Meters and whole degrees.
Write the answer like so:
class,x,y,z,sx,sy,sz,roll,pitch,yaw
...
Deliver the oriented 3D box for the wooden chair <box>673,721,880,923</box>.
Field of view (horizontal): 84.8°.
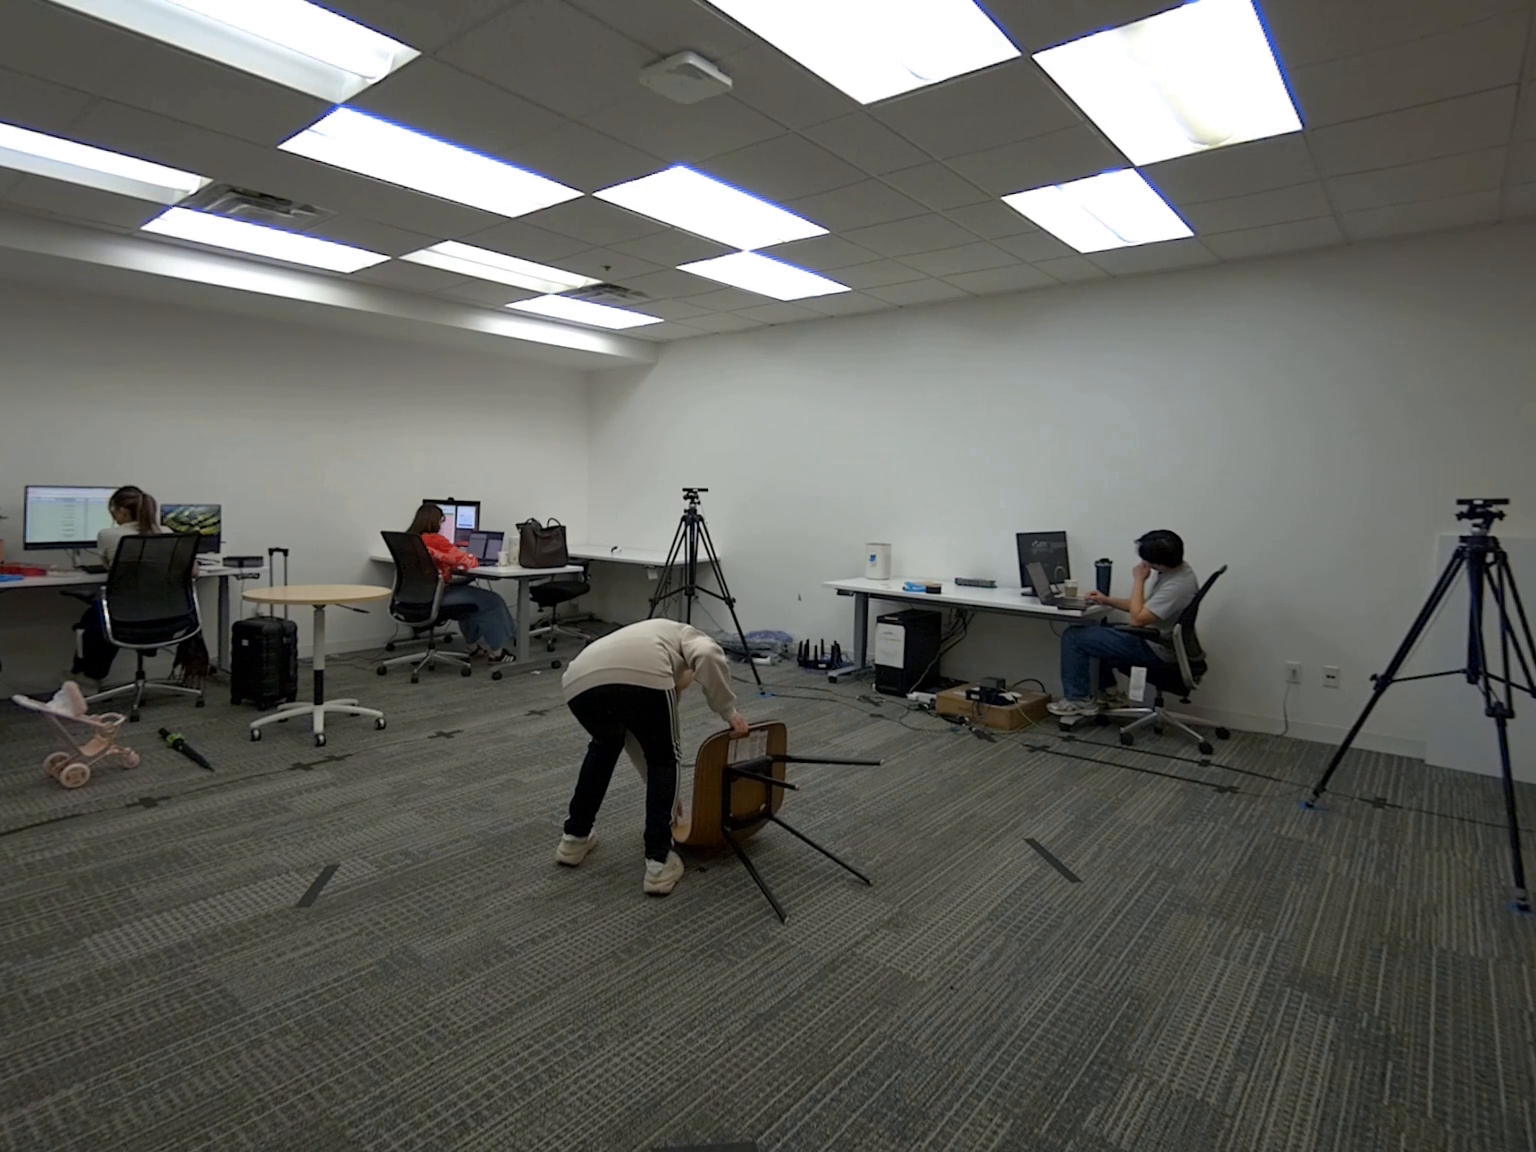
class,x,y,z,sx,sy,sz,roll,pitch,yaw
wooden chair,-0.075,0.811,3.163,0.463,0.522,0.907,-1,4,-44
